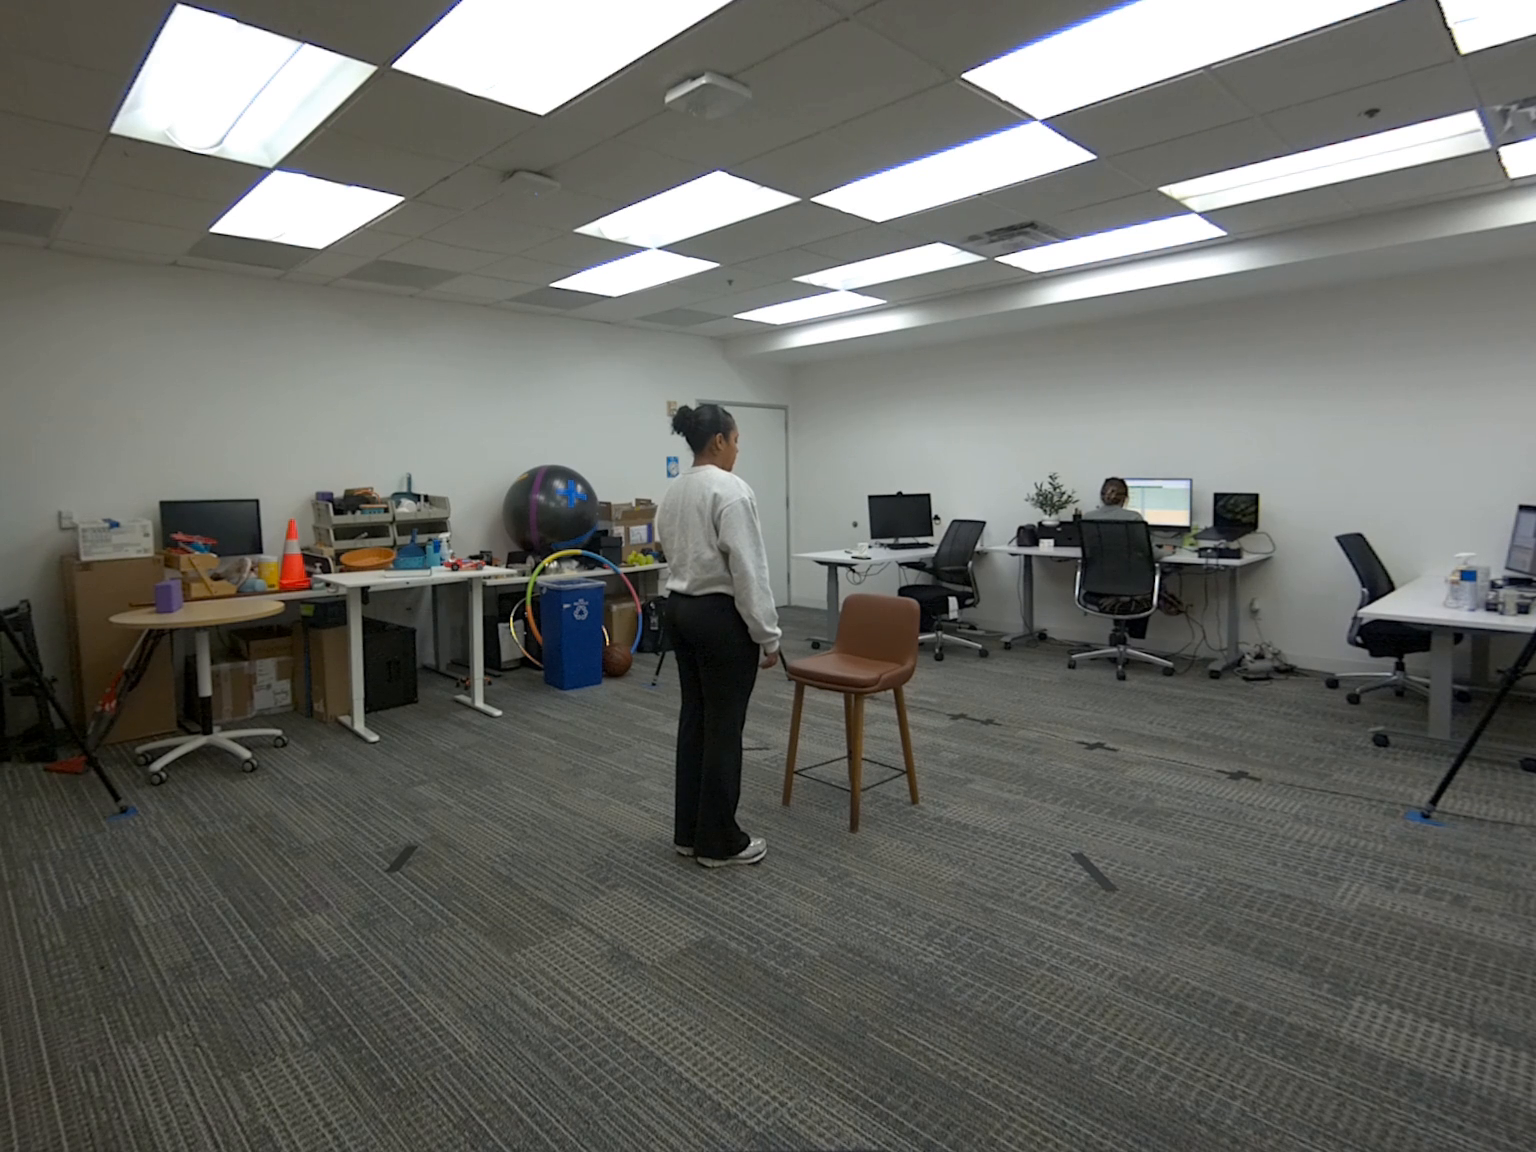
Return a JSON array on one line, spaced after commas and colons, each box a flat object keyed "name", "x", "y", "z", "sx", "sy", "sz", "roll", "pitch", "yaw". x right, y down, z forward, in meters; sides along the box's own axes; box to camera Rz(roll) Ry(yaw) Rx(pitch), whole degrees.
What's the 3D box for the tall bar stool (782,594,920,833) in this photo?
[{"name": "tall bar stool", "x": 0.362, "y": 0.541, "z": 3.633, "sx": 0.454, "sy": 0.888, "sz": 0.471, "roll": -1, "pitch": 4, "yaw": -43}]
